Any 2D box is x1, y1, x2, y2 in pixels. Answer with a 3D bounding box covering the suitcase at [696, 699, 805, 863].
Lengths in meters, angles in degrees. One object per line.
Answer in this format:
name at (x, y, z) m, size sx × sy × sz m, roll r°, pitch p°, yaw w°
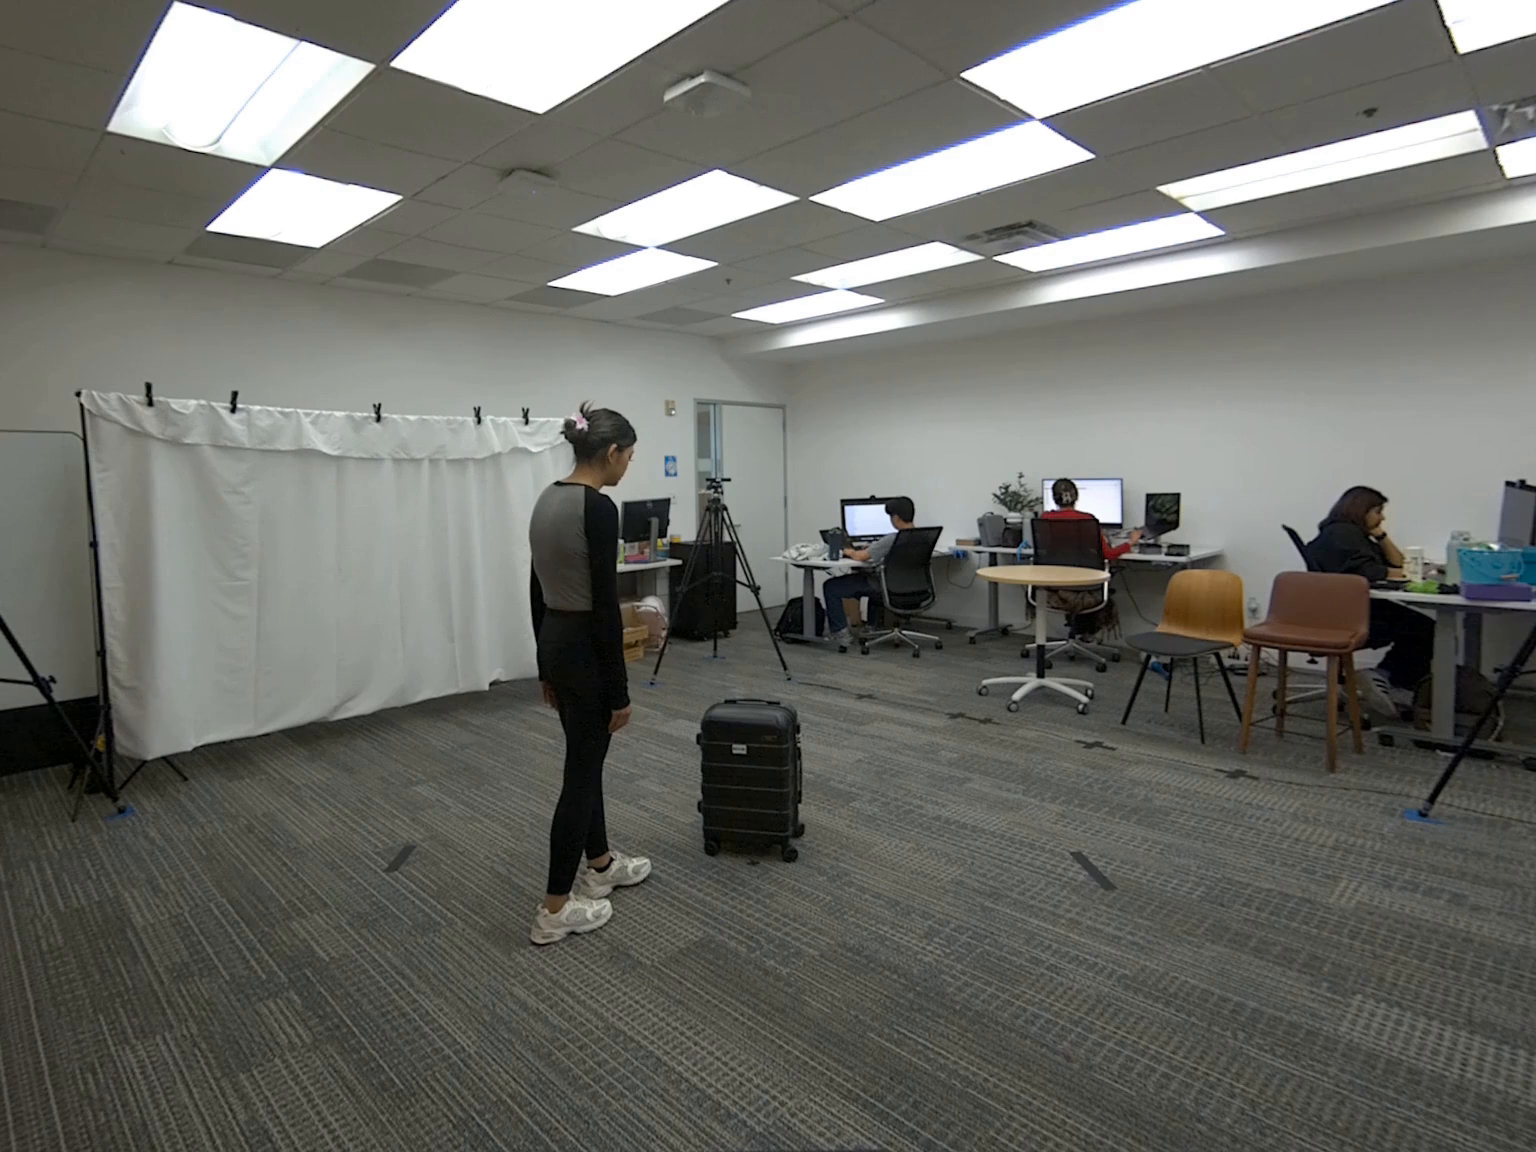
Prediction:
suitcase at (-0.063, 0.750, 3.238) m, size 0.381 × 0.547 × 0.245 m, roll 1°, pitch 4°, yaw 15°
